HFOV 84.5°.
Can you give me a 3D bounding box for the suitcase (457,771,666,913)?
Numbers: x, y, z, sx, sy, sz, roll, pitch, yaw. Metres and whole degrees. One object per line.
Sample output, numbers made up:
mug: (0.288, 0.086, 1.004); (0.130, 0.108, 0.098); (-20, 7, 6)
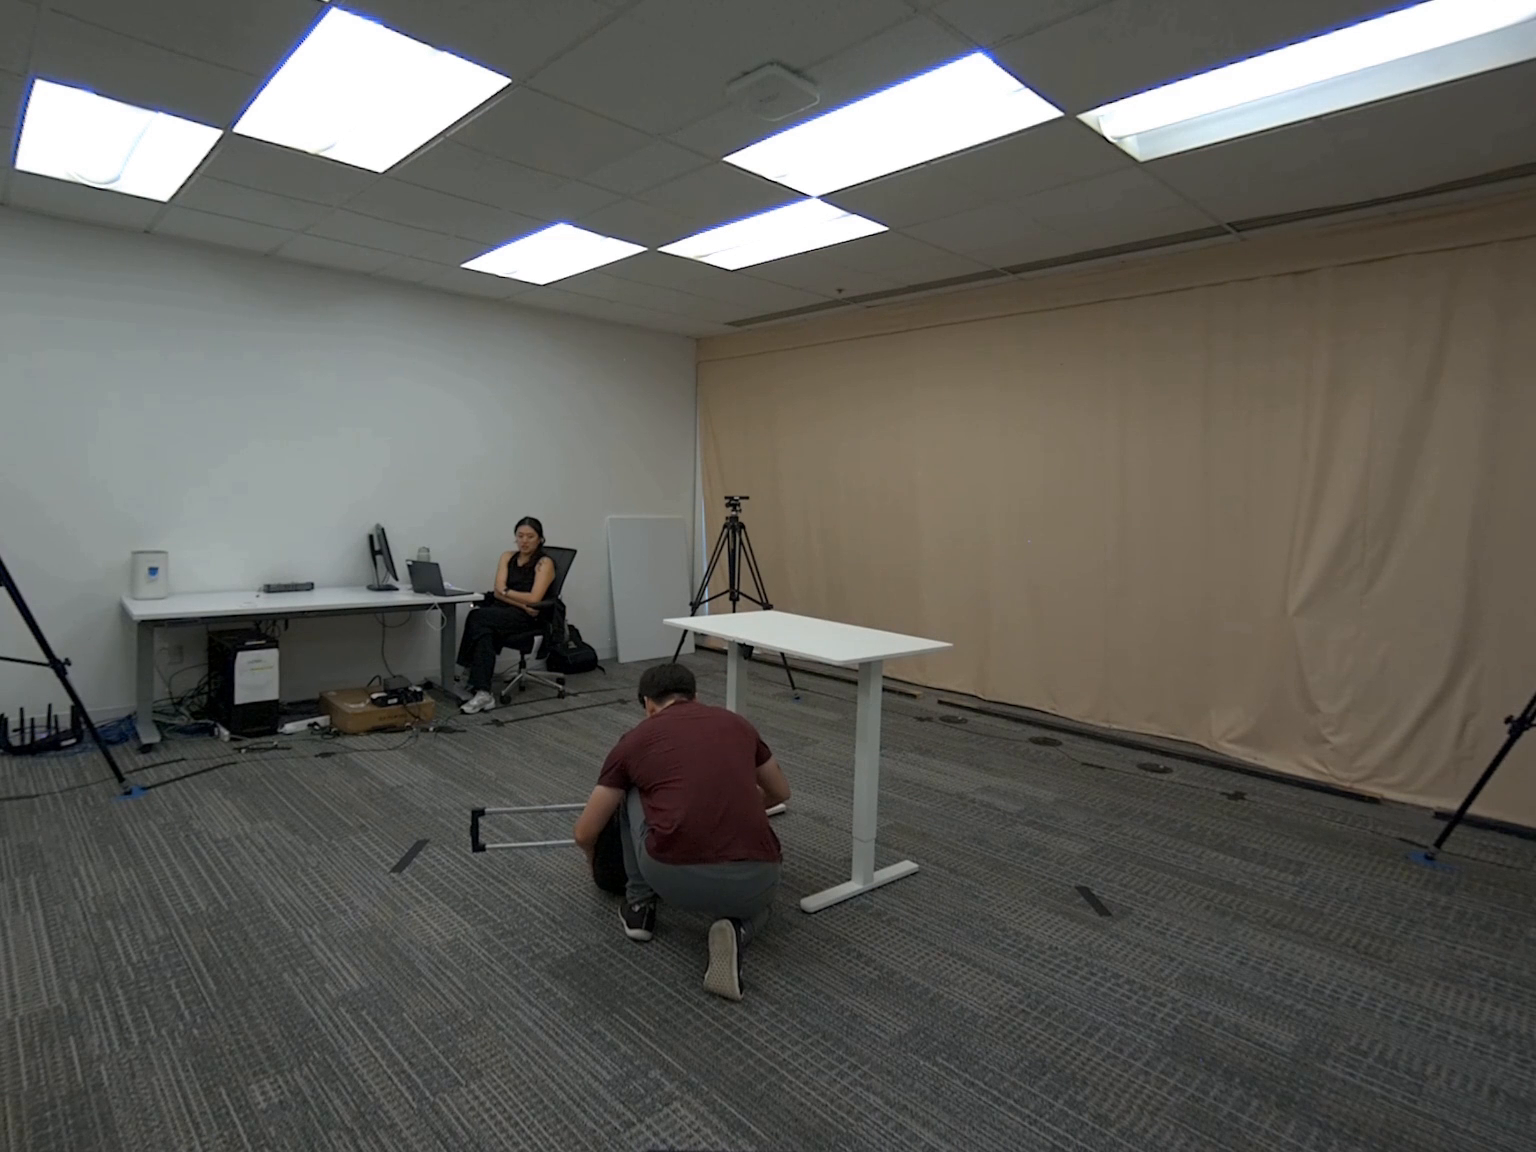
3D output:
suitcase: (-0.565, 0.917, 2.985); (0.973, 0.383, 0.259); (0, 2, -6)
